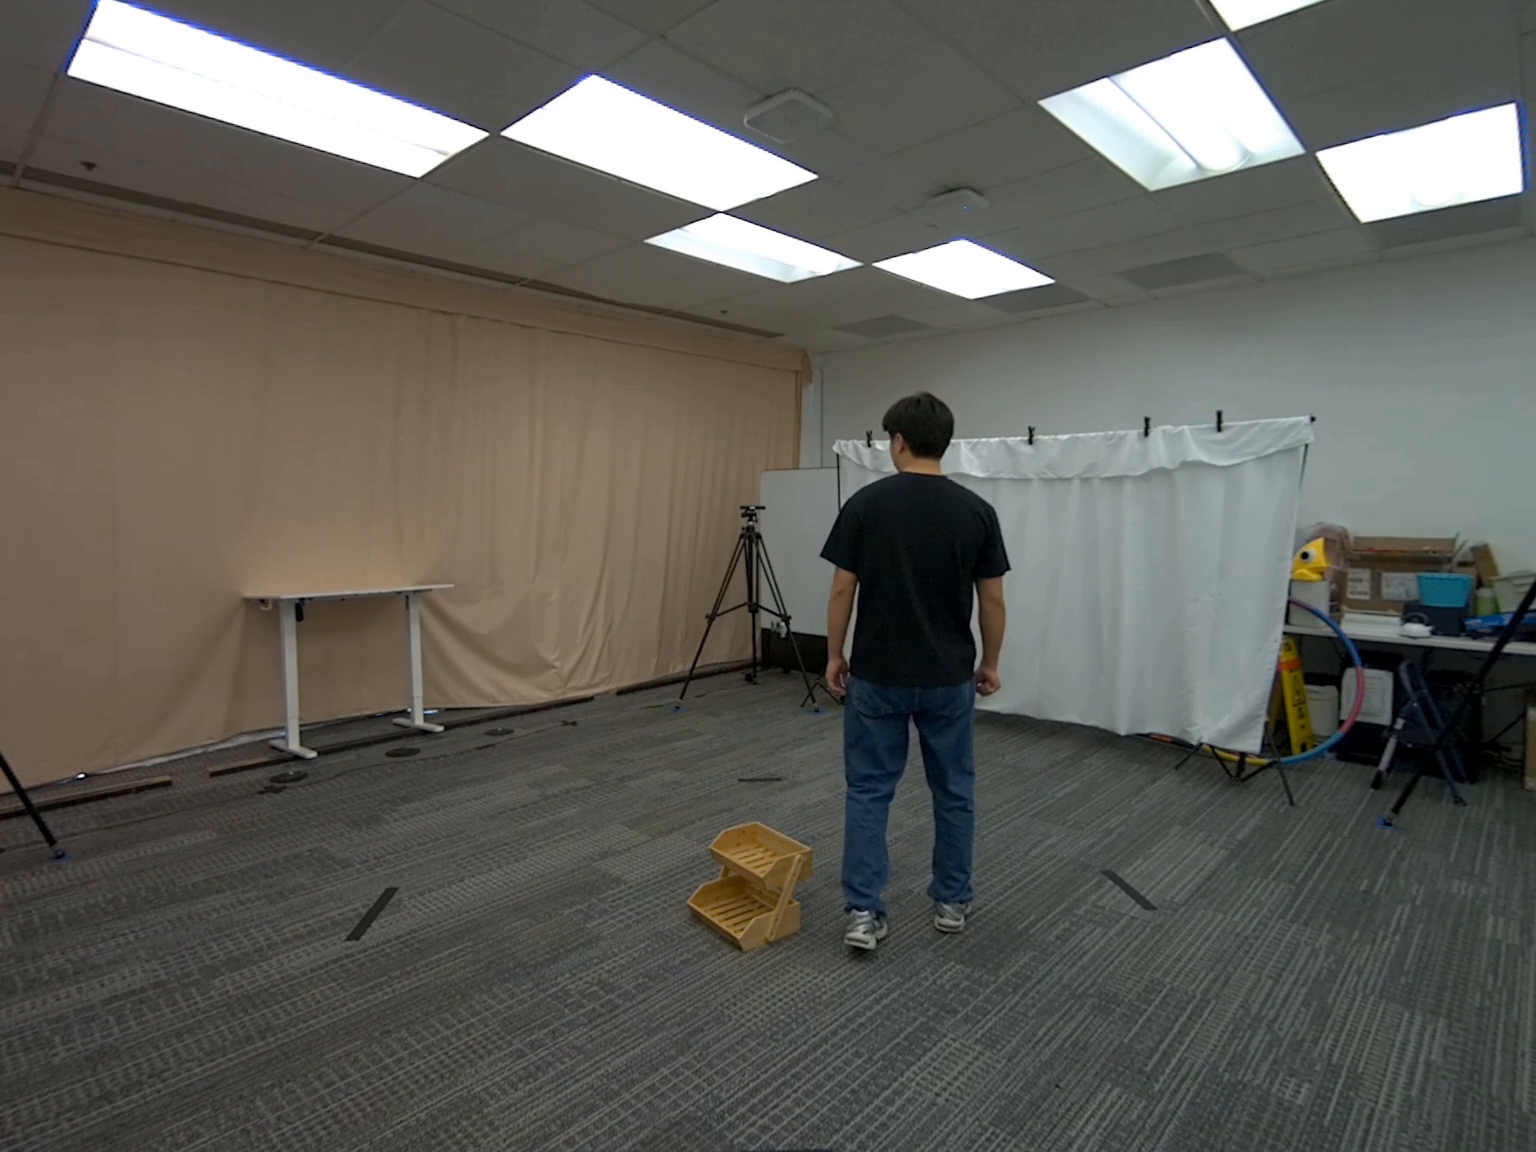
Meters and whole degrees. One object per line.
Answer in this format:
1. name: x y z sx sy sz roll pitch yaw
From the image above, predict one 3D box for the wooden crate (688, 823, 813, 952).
1. wooden crate: -0.063 1.028 2.819 0.293 0.273 0.335 -2 4 -37
